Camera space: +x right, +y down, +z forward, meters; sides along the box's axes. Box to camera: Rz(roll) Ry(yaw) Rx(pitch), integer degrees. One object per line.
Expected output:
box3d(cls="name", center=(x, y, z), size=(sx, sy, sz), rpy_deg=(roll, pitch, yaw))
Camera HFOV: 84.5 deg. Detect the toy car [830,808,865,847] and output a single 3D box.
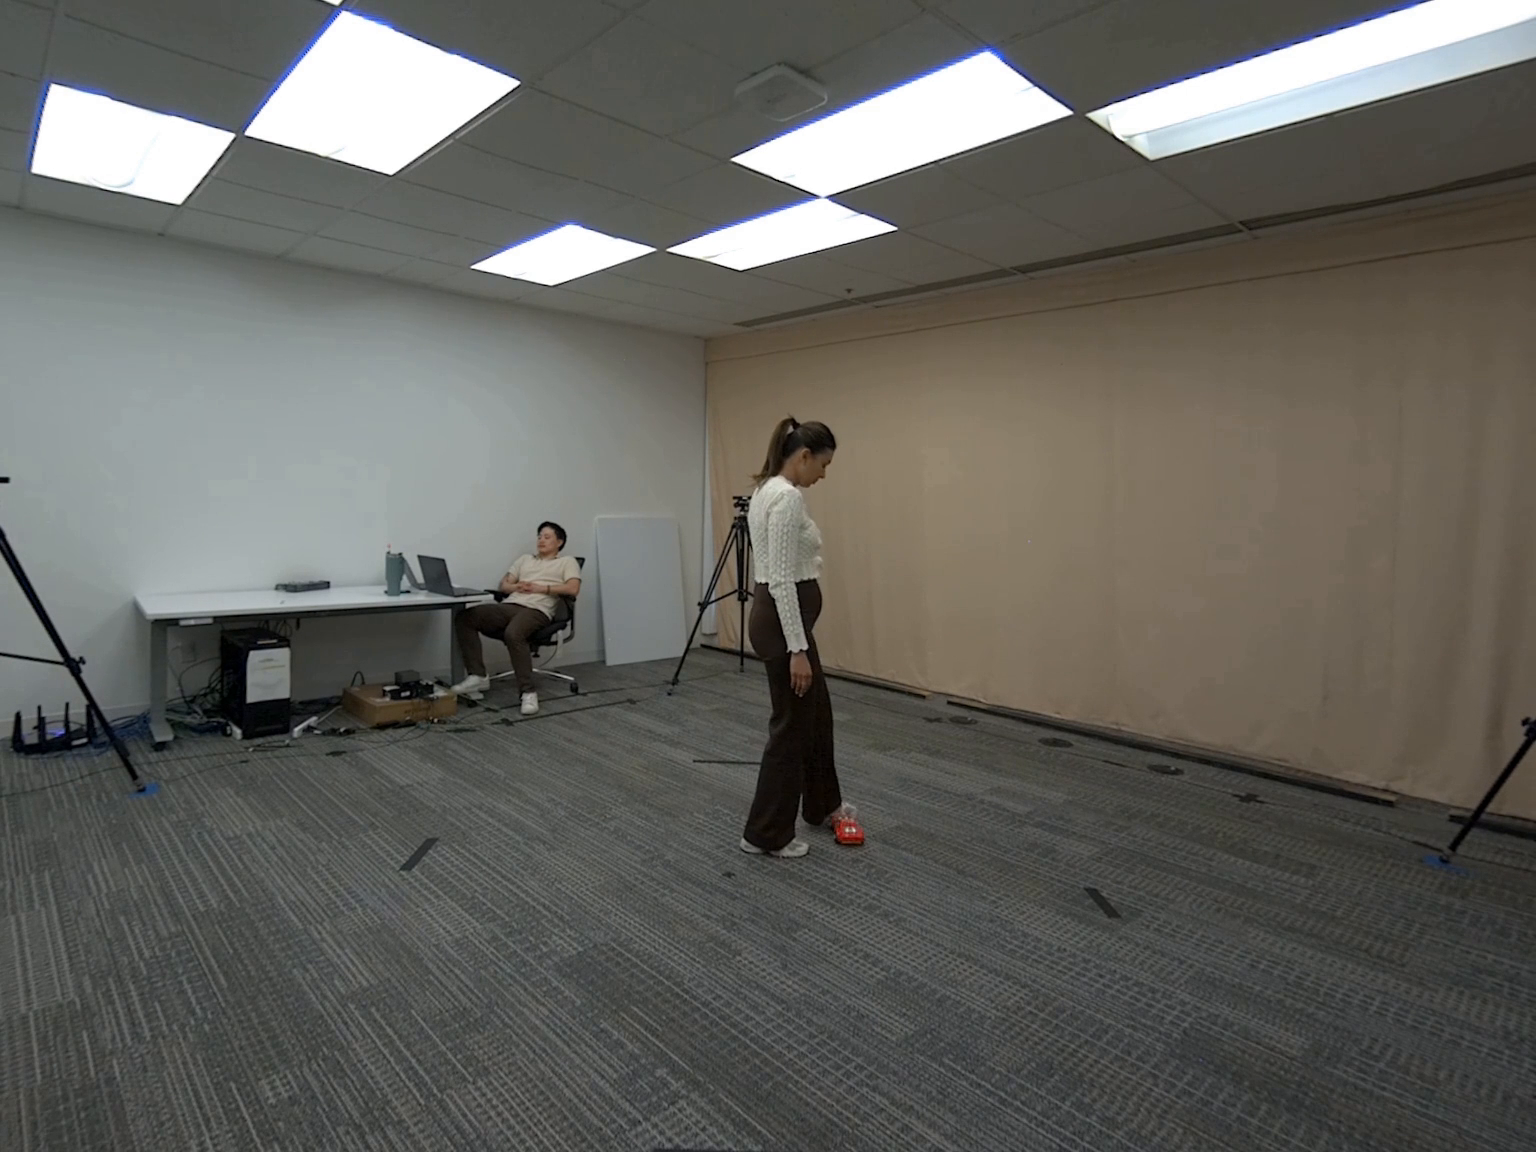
box3d(cls="toy car", center=(0.309, 1.051, 3.468), size=(0.130, 0.084, 0.254), rpy_deg=(3, -7, -5))
